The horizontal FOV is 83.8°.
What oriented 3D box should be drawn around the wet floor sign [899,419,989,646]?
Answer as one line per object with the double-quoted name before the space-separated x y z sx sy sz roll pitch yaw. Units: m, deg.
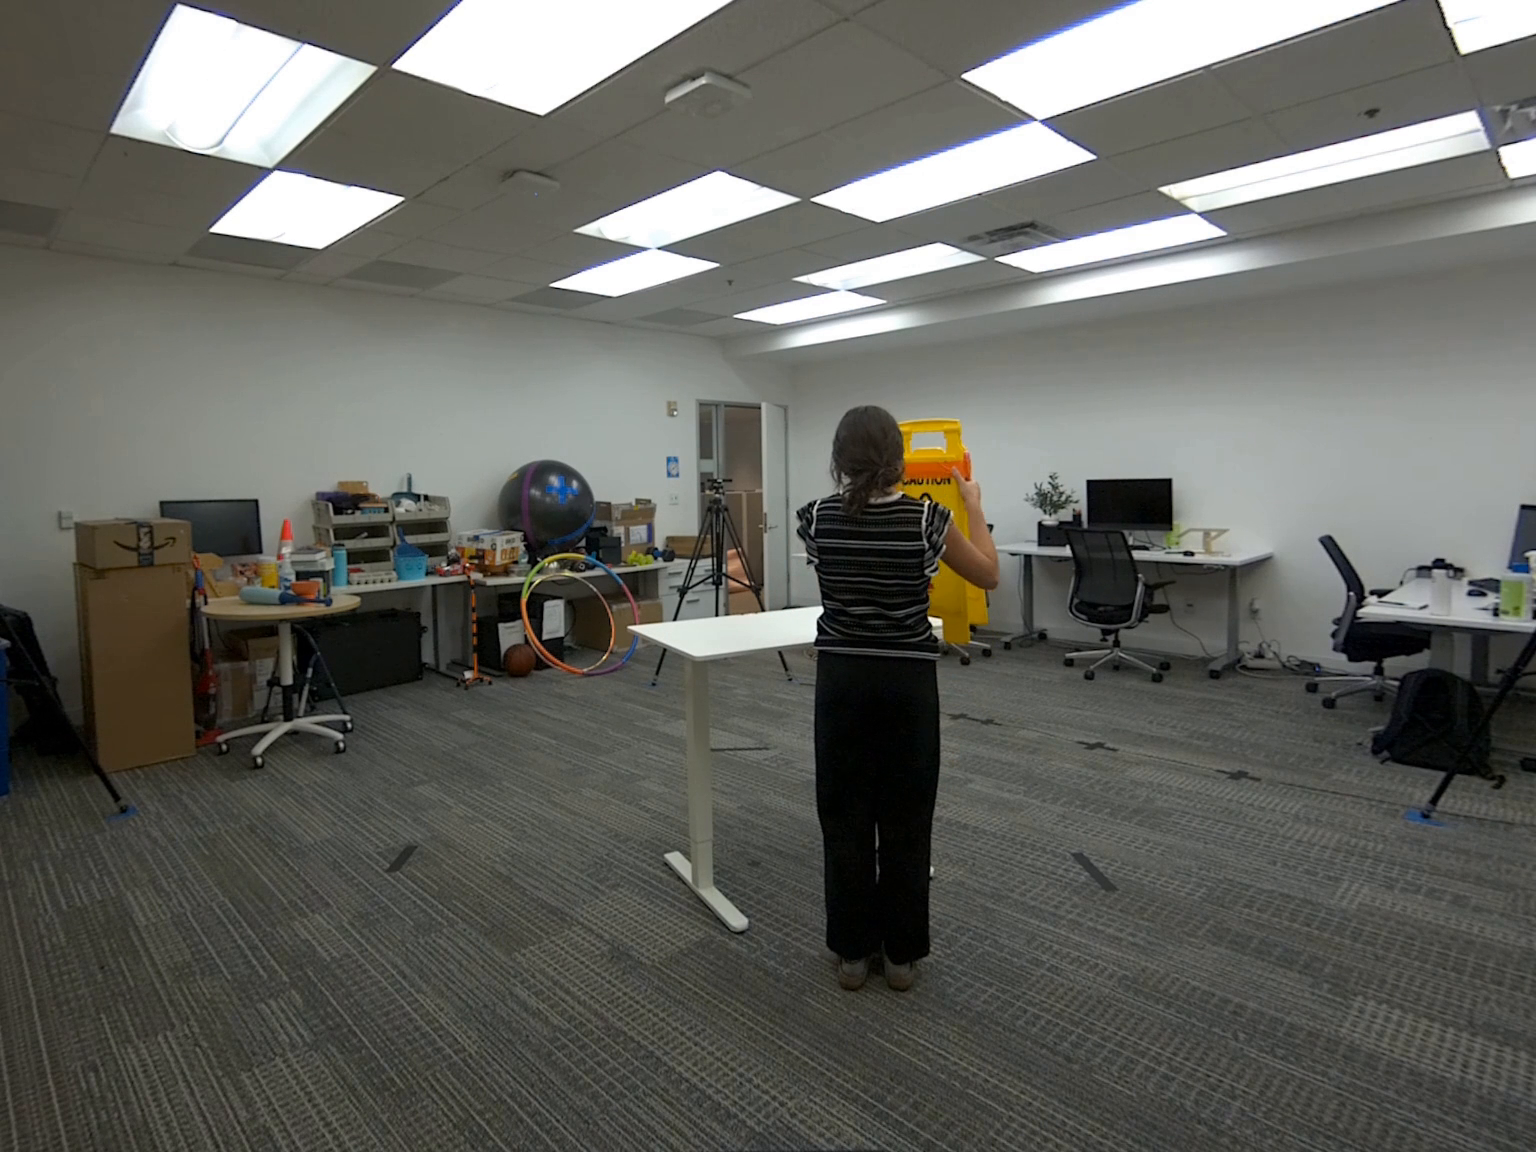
"wet floor sign" 0.504 -0.148 2.612 0.289 0.641 0.285 1 9 27
